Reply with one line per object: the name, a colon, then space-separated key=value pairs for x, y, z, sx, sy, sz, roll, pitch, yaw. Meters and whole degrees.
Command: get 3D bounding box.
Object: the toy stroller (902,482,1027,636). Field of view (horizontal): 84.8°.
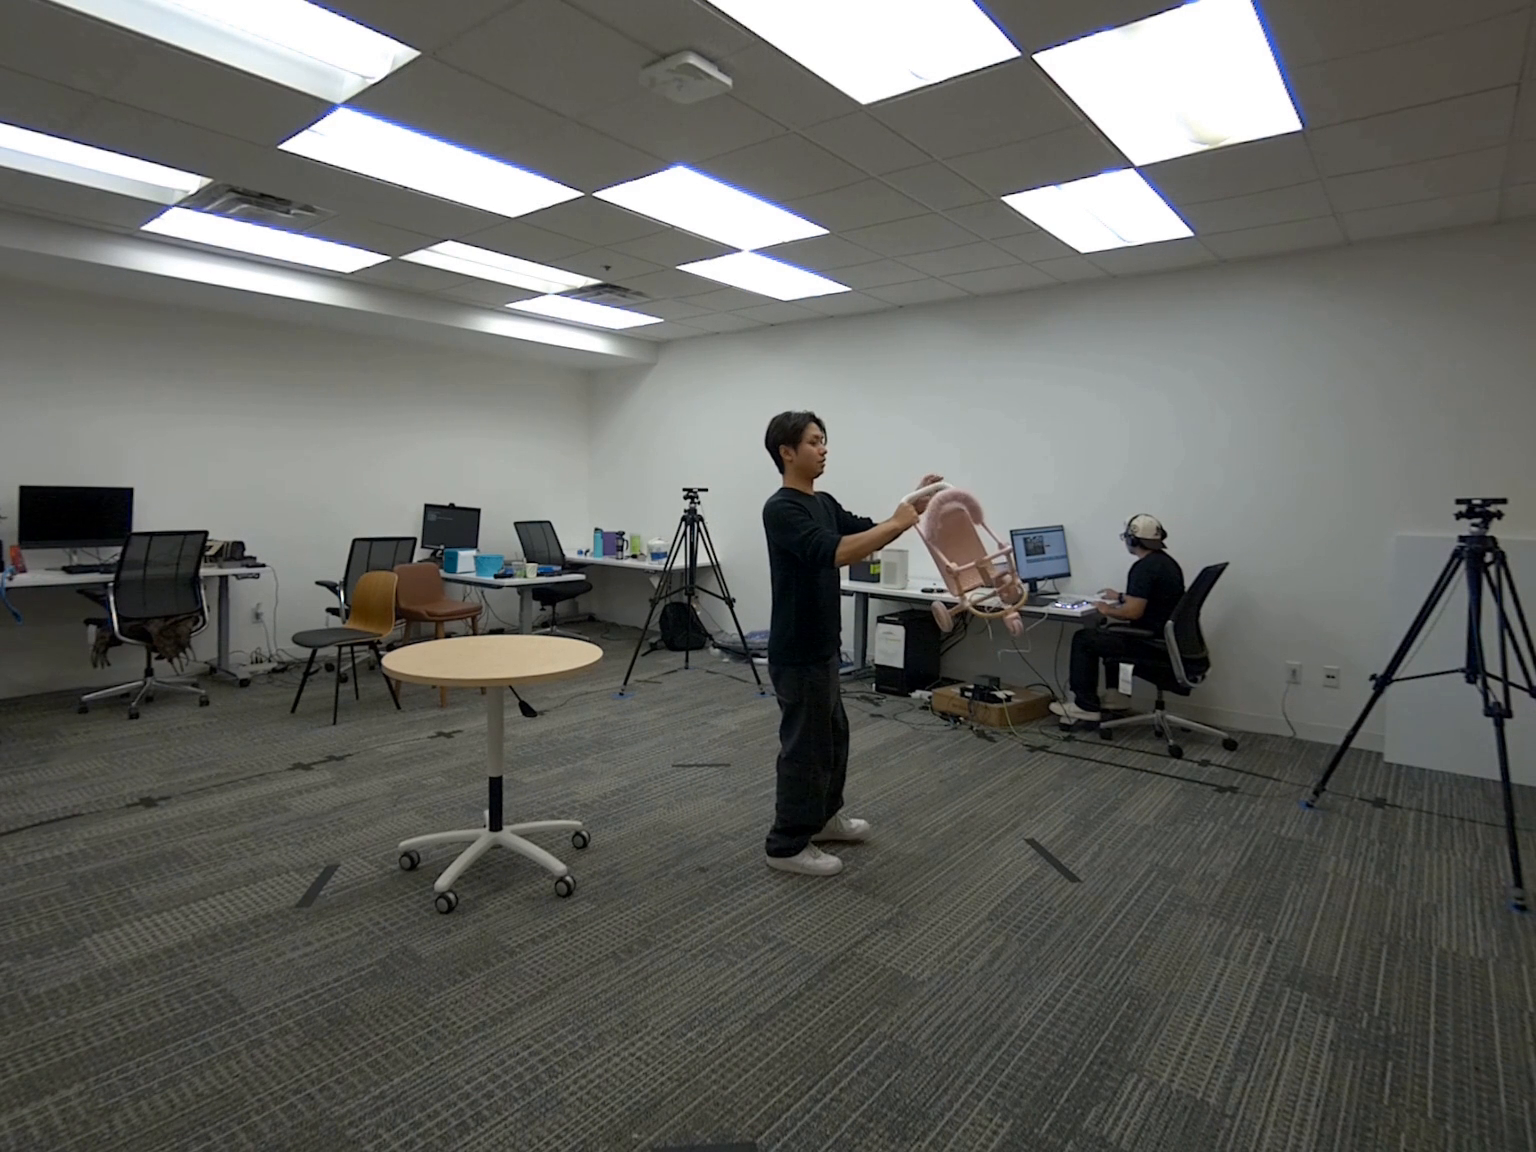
toy stroller: x=0.637 y=-0.053 z=2.759 sx=0.281 sy=0.536 sz=0.341 roll=-22 pitch=-1 yaw=-4
